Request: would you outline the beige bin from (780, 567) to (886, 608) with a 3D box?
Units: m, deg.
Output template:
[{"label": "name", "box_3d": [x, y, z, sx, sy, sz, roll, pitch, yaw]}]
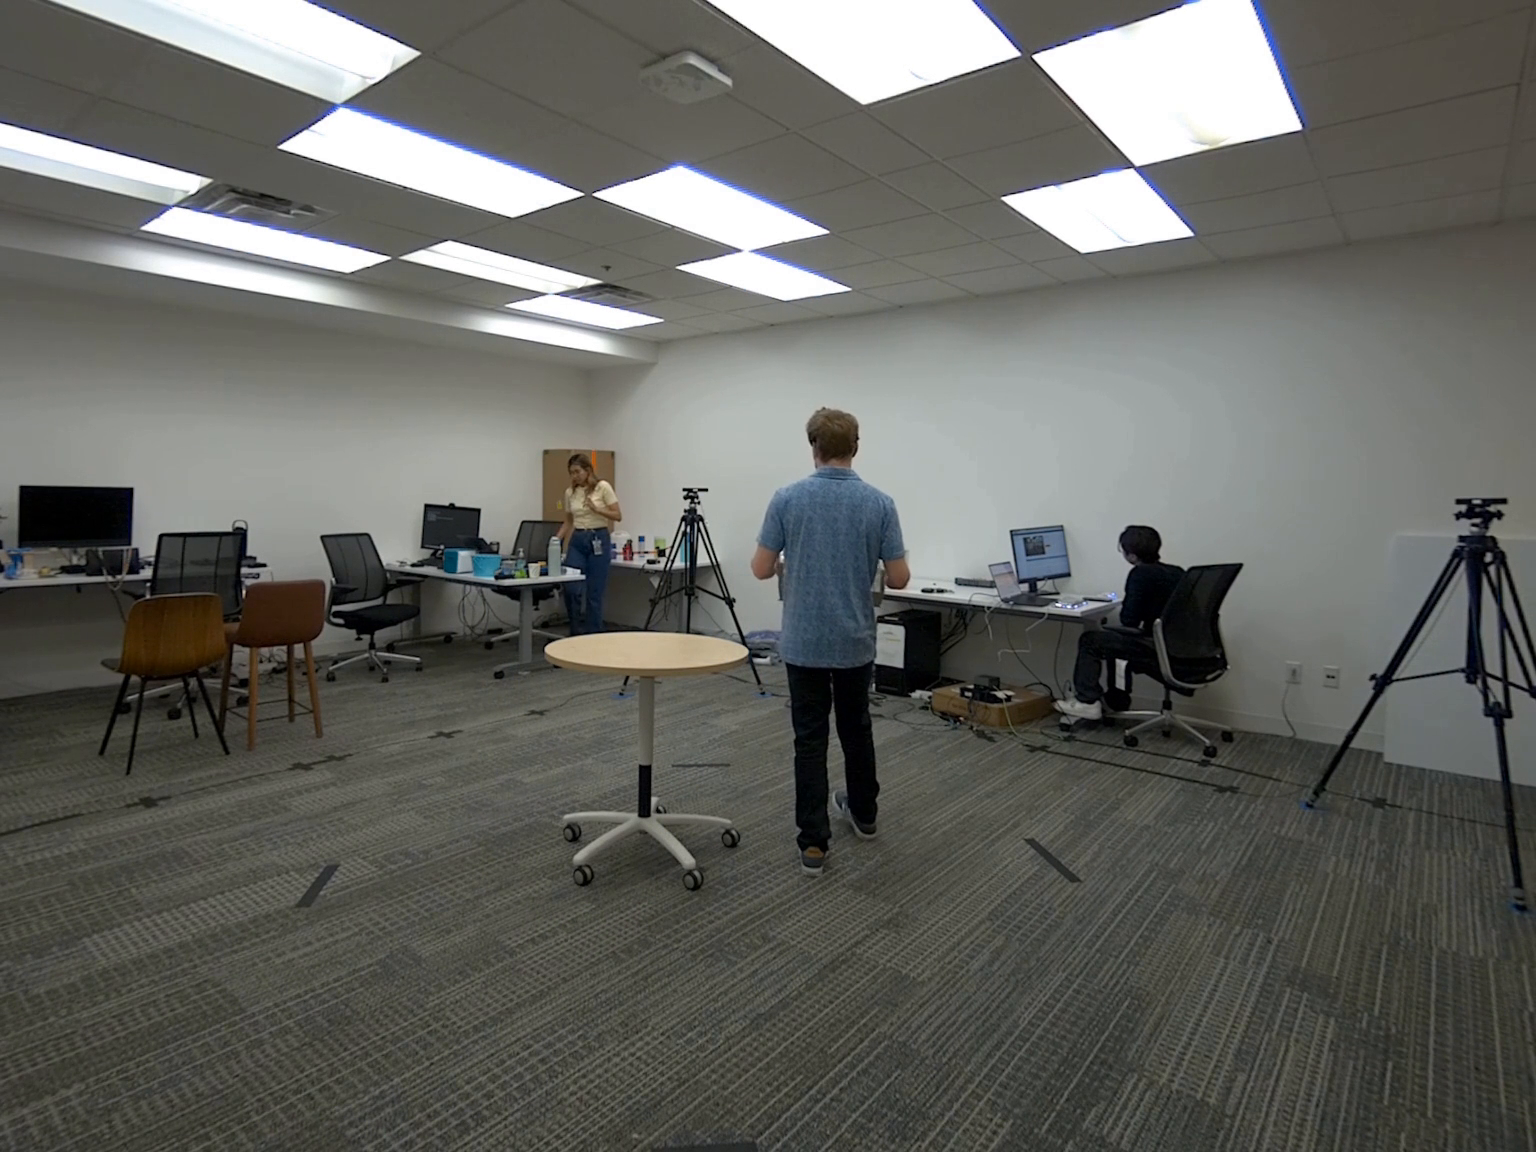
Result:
[{"label": "beige bin", "box_3d": [0.252, -0.024, 3.524, 0.424, 0.185, 0.383, 2, 21, 2]}]
